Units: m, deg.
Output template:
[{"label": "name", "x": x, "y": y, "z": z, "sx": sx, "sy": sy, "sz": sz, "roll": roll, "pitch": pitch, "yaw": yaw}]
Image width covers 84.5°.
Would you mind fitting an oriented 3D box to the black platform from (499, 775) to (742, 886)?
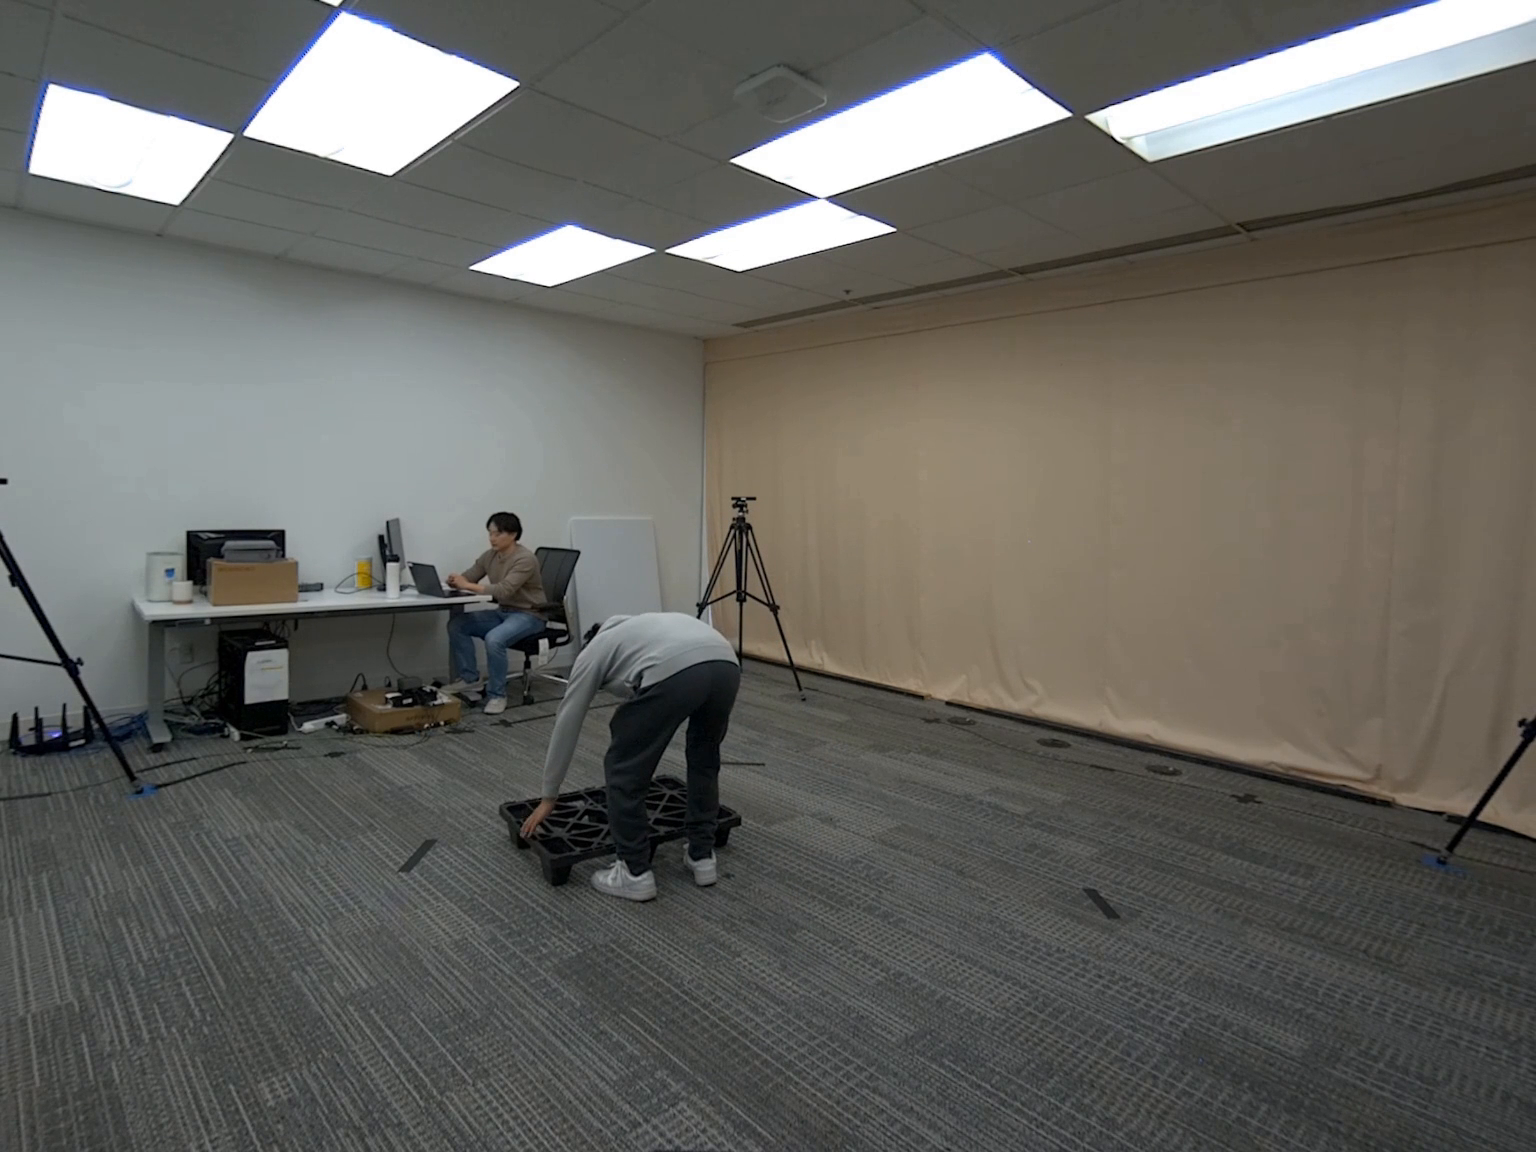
[{"label": "black platform", "x": -0.602, "y": 1.009, "z": 3.377, "sx": 0.788, "sy": 0.143, "sz": 0.620, "roll": -2, "pitch": 7, "yaw": -34}]
